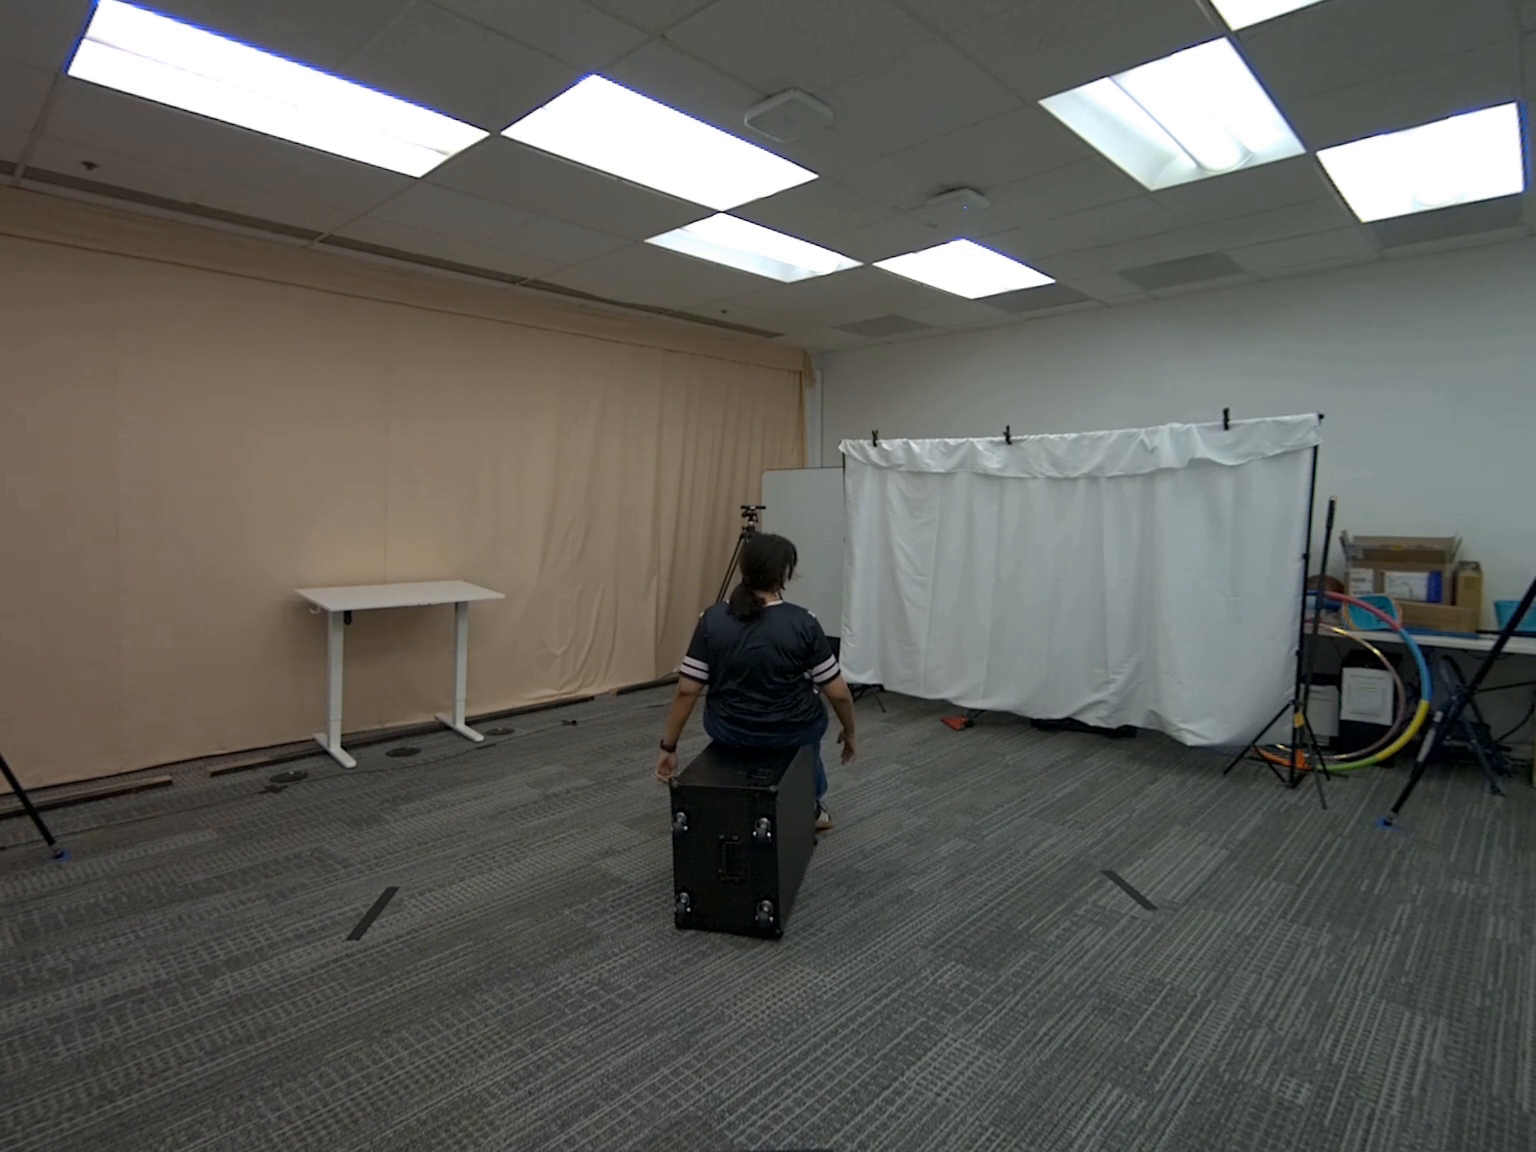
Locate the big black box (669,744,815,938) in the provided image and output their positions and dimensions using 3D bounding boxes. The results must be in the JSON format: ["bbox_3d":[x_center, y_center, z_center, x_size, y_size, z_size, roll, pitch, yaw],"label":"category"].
[{"bbox_3d":[-0.070,0.880,3.054,0.391,0.522,0.857,1,4,13],"label":"big black box"}]
